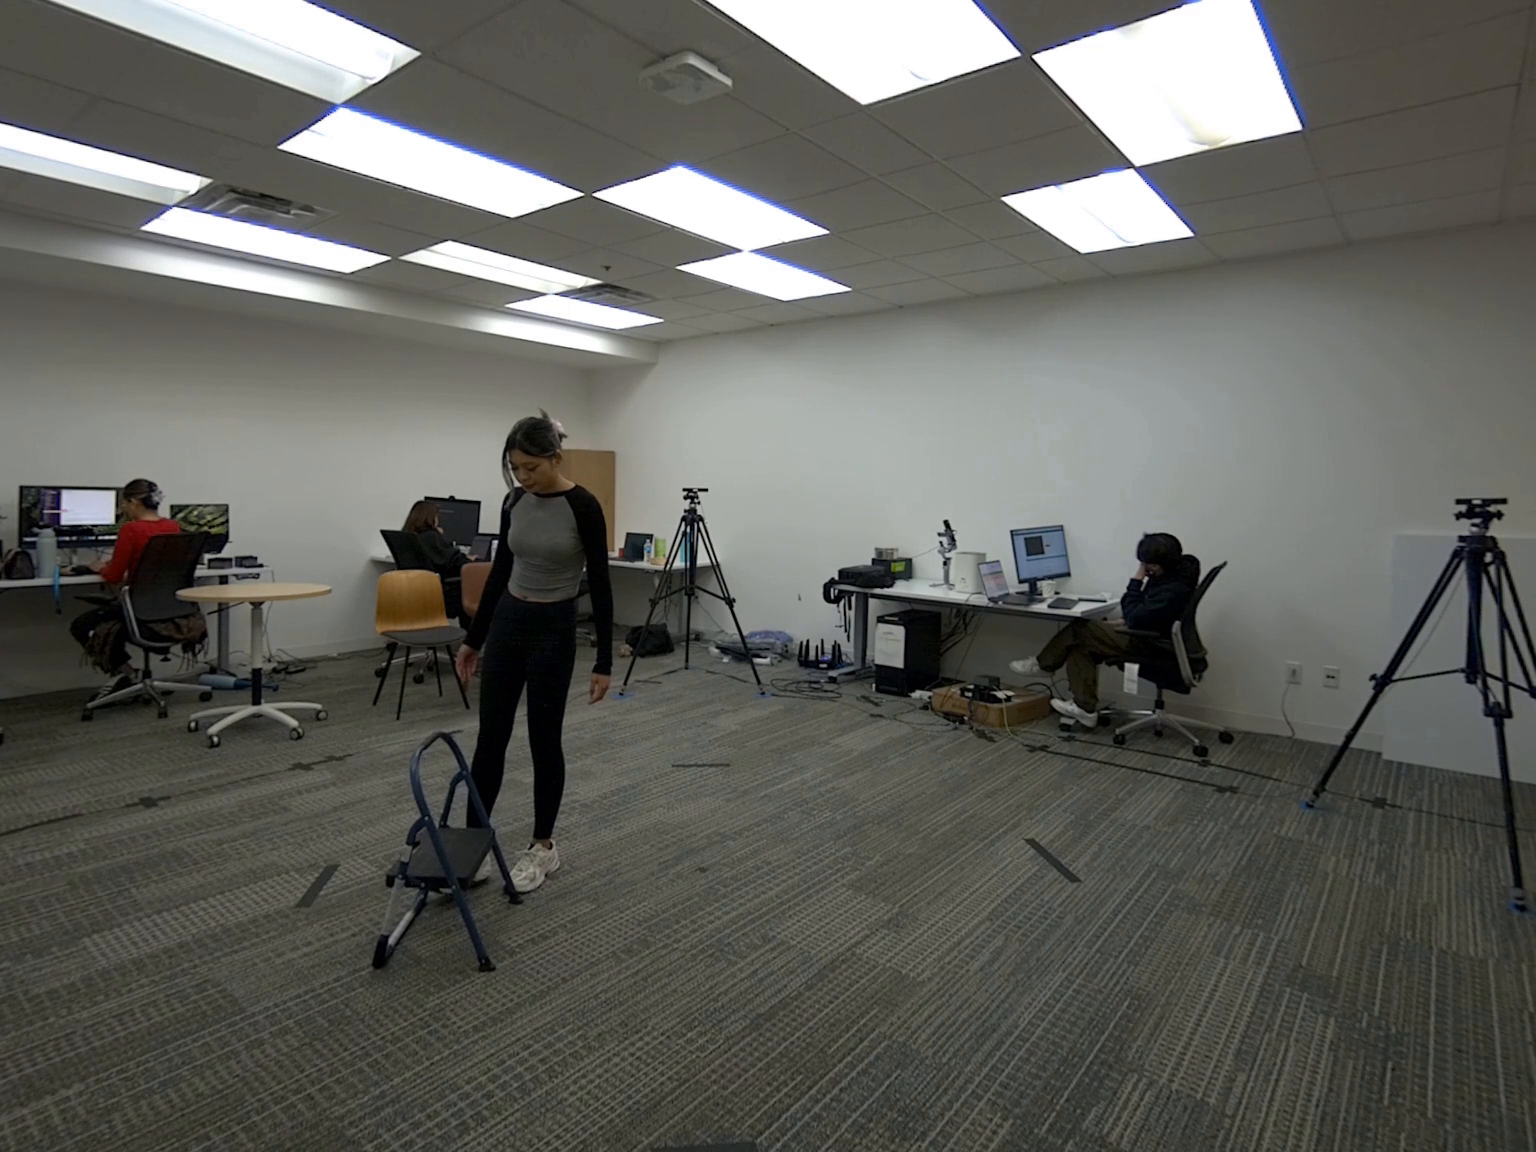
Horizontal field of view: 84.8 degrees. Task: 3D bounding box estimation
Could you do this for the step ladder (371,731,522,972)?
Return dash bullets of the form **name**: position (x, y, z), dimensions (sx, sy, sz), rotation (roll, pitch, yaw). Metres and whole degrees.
- **step ladder**: position (-0.990, 0.811, 2.617), dimensions (0.349, 0.603, 0.433), rotation (1, 5, -2)
